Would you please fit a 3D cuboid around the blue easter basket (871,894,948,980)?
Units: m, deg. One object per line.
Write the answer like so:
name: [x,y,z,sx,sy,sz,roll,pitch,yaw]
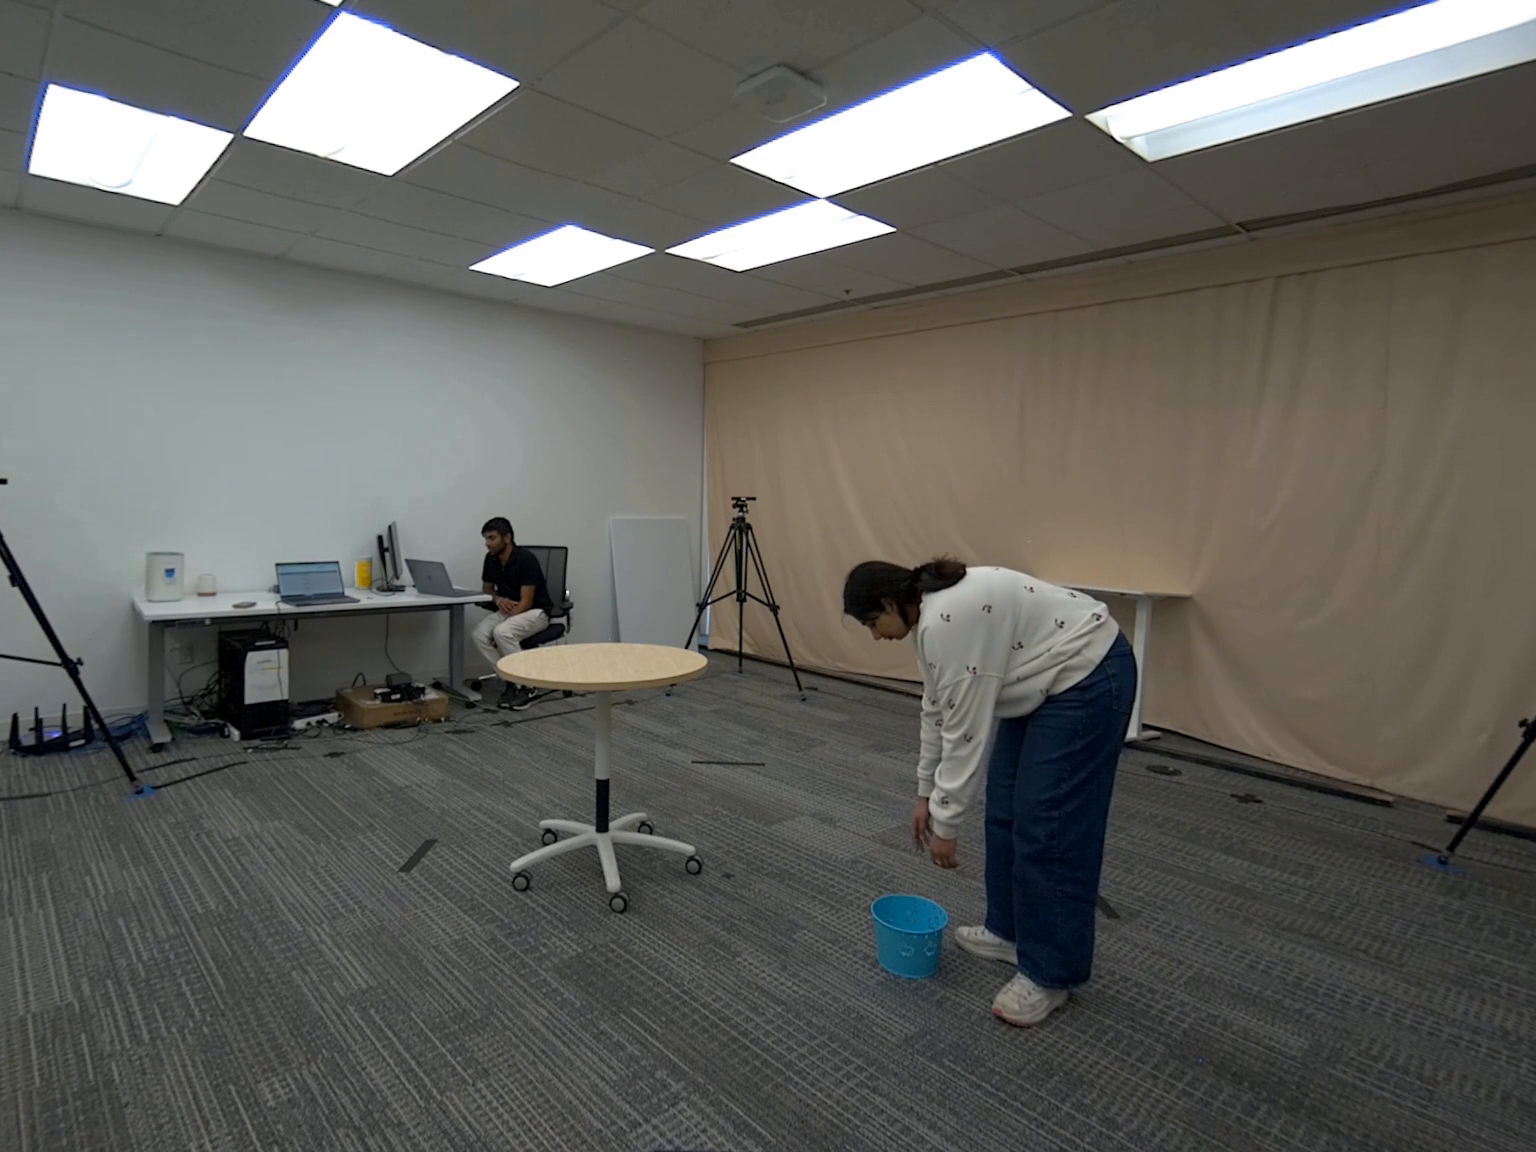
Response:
blue easter basket: [0.425,1.087,2.561,0.243,0.155,0.244,1,5,-1]
